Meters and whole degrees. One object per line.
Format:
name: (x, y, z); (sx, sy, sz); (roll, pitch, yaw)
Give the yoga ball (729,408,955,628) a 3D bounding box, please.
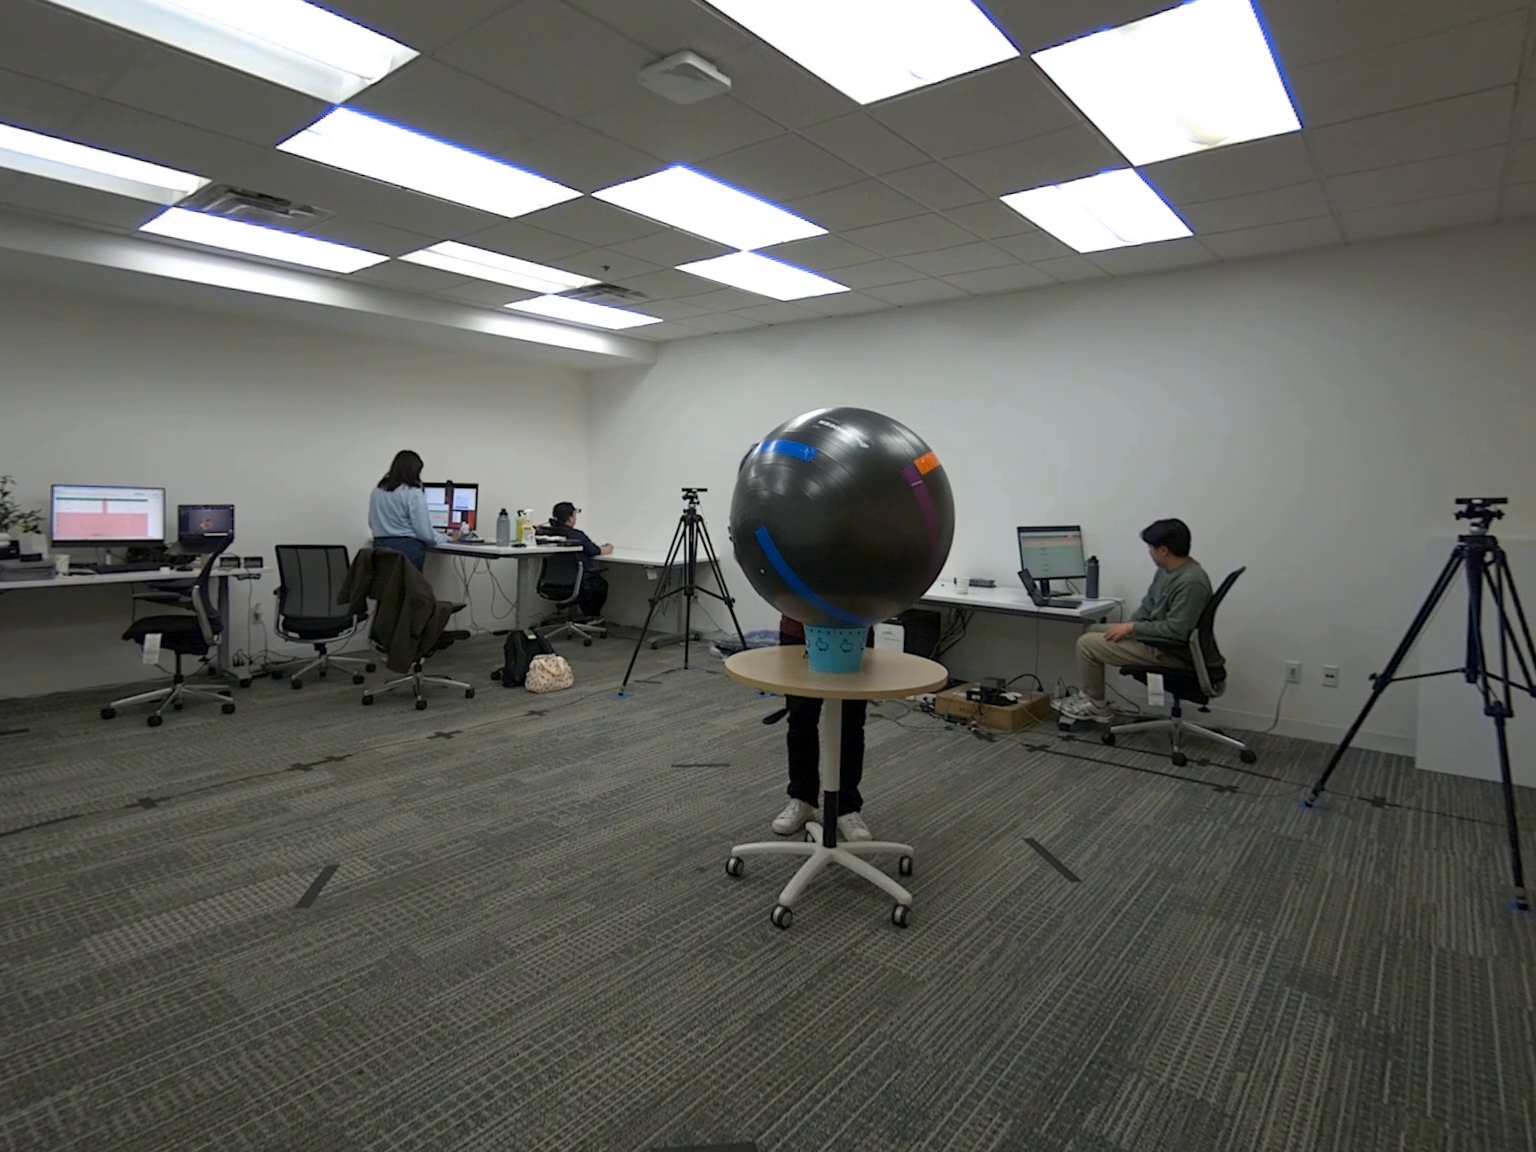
yoga ball: (0.244, -0.194, 2.910); (0.757, 0.756, 0.761); (1, 4, -2)
